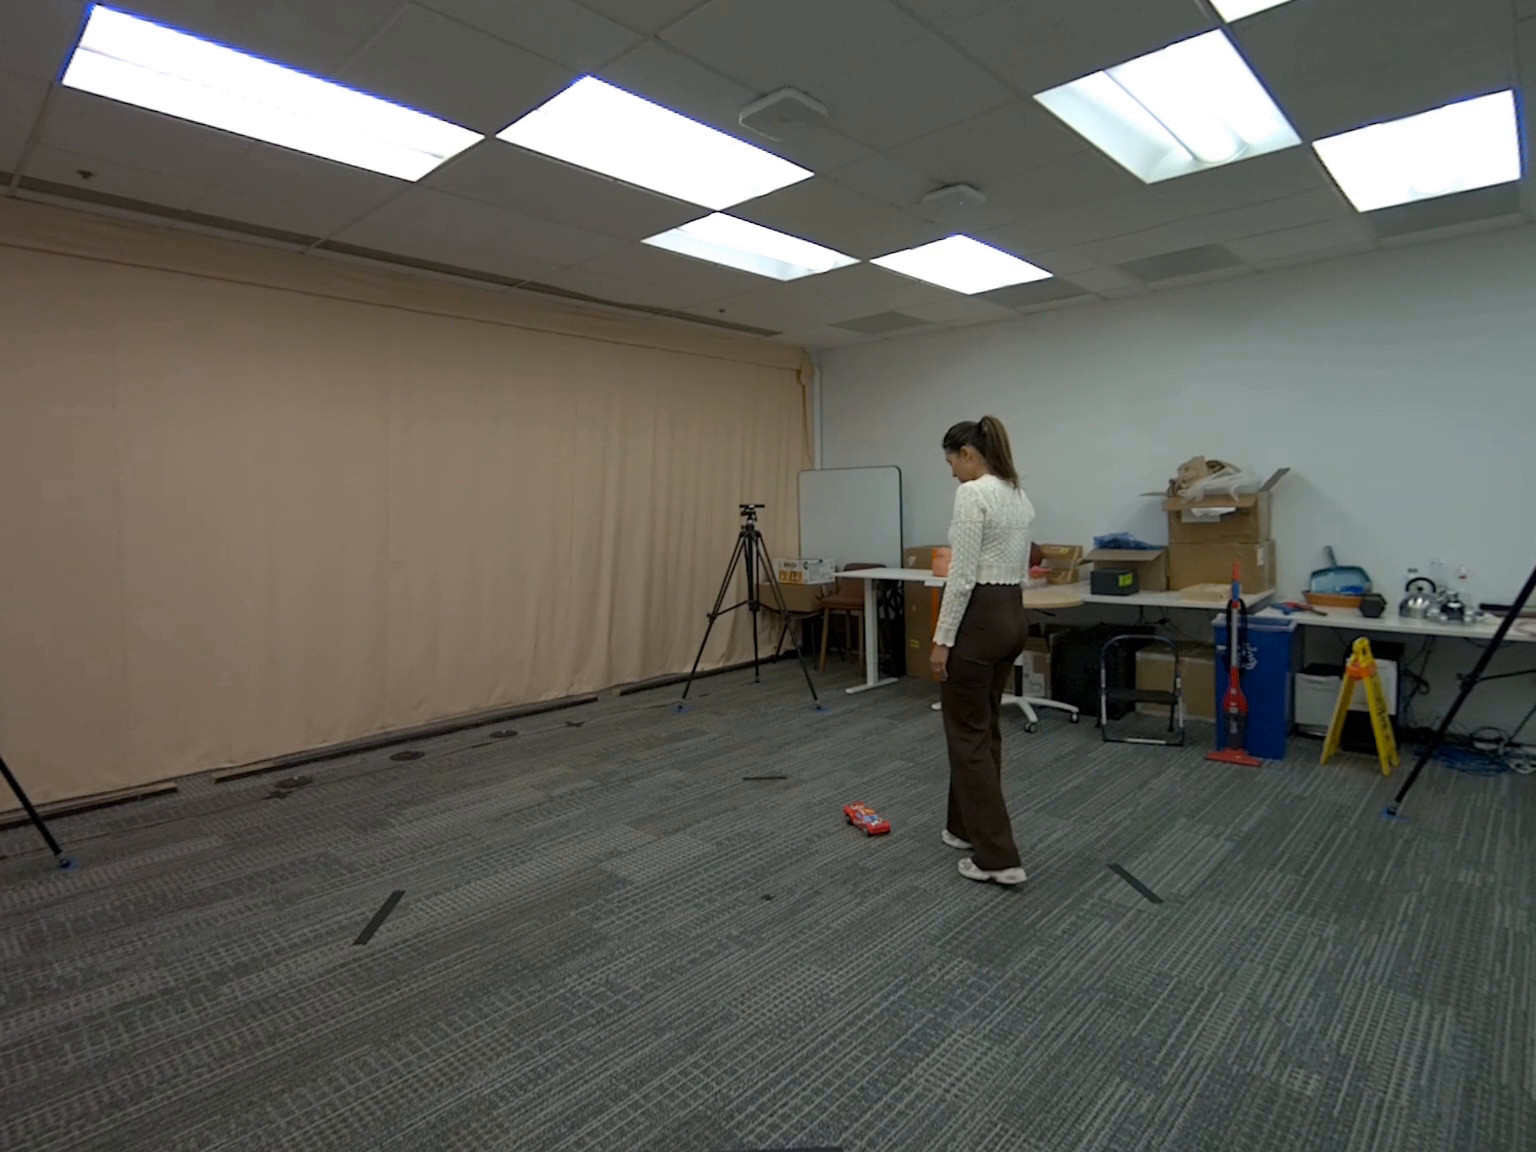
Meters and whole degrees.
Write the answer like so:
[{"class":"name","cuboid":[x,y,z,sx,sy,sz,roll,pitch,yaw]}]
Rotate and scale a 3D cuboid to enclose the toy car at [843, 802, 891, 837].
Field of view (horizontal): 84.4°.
[{"class":"toy car","cuboid":[0.422,1.046,3.624,0.127,0.082,0.262,-3,16,-23]}]
